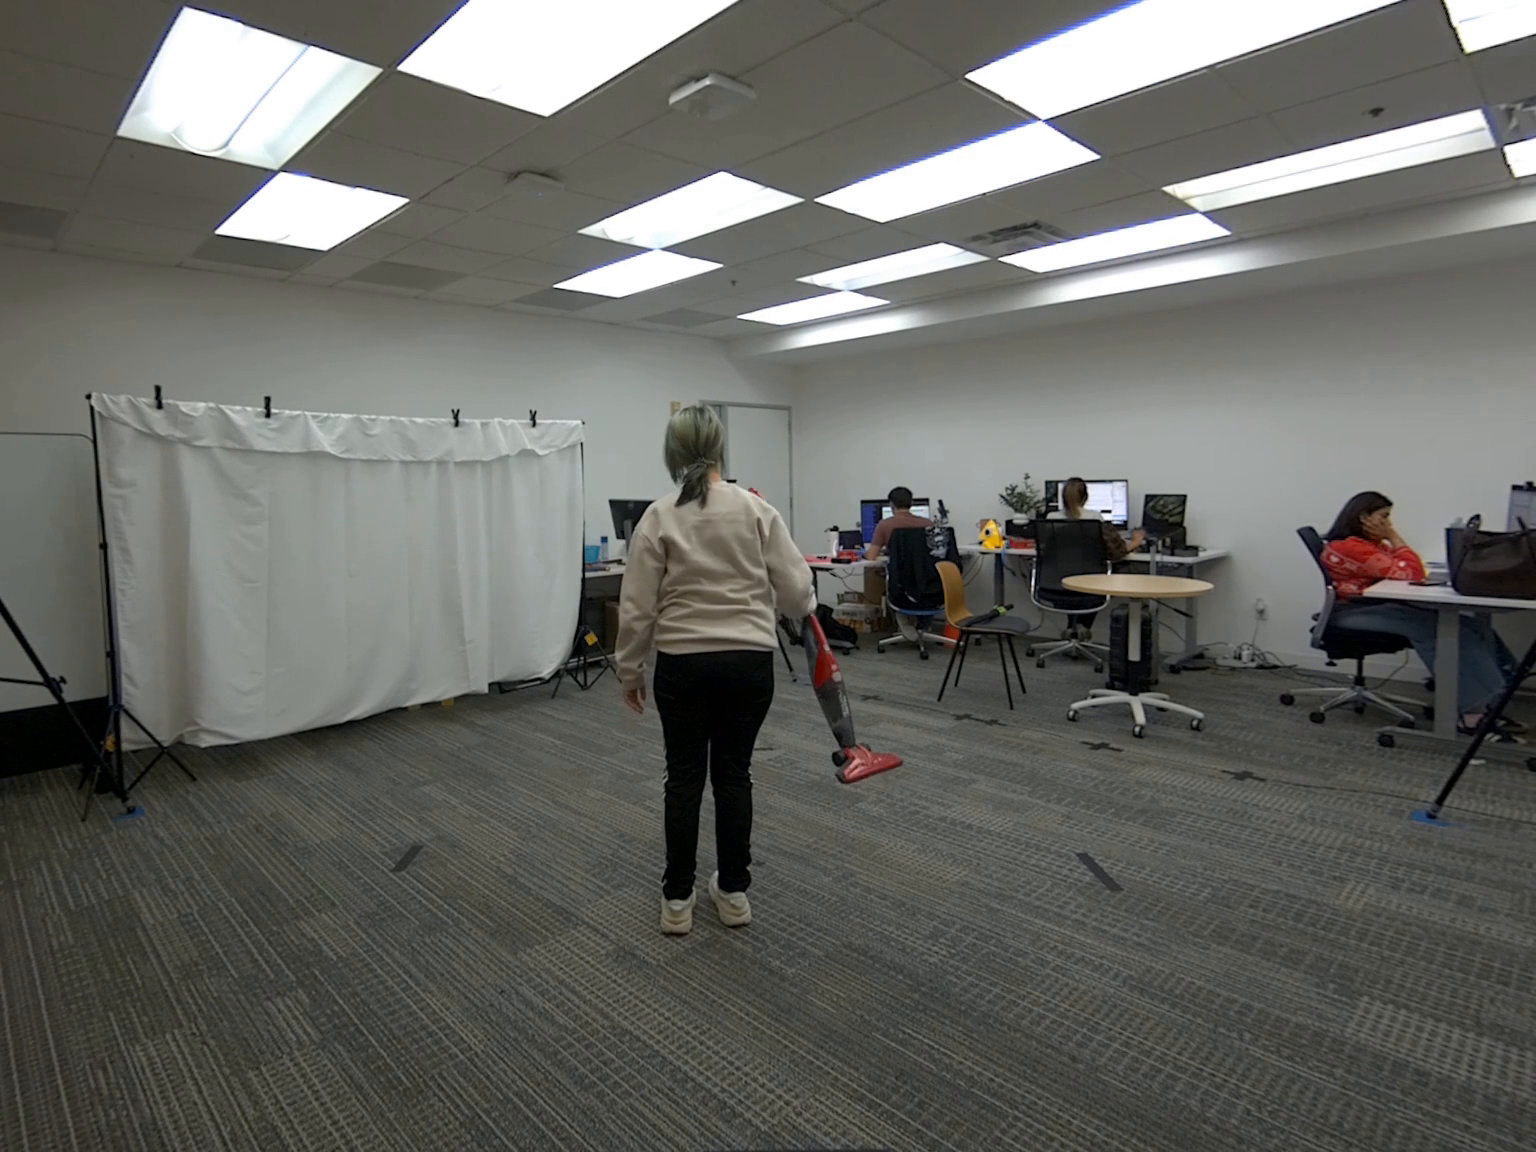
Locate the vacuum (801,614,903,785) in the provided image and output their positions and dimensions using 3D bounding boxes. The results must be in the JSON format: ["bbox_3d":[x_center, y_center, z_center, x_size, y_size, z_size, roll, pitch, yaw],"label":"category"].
[{"bbox_3d":[0.132,0.157,3.007,0.247,1.072,0.144,-8,-23,-34],"label":"vacuum"}]
